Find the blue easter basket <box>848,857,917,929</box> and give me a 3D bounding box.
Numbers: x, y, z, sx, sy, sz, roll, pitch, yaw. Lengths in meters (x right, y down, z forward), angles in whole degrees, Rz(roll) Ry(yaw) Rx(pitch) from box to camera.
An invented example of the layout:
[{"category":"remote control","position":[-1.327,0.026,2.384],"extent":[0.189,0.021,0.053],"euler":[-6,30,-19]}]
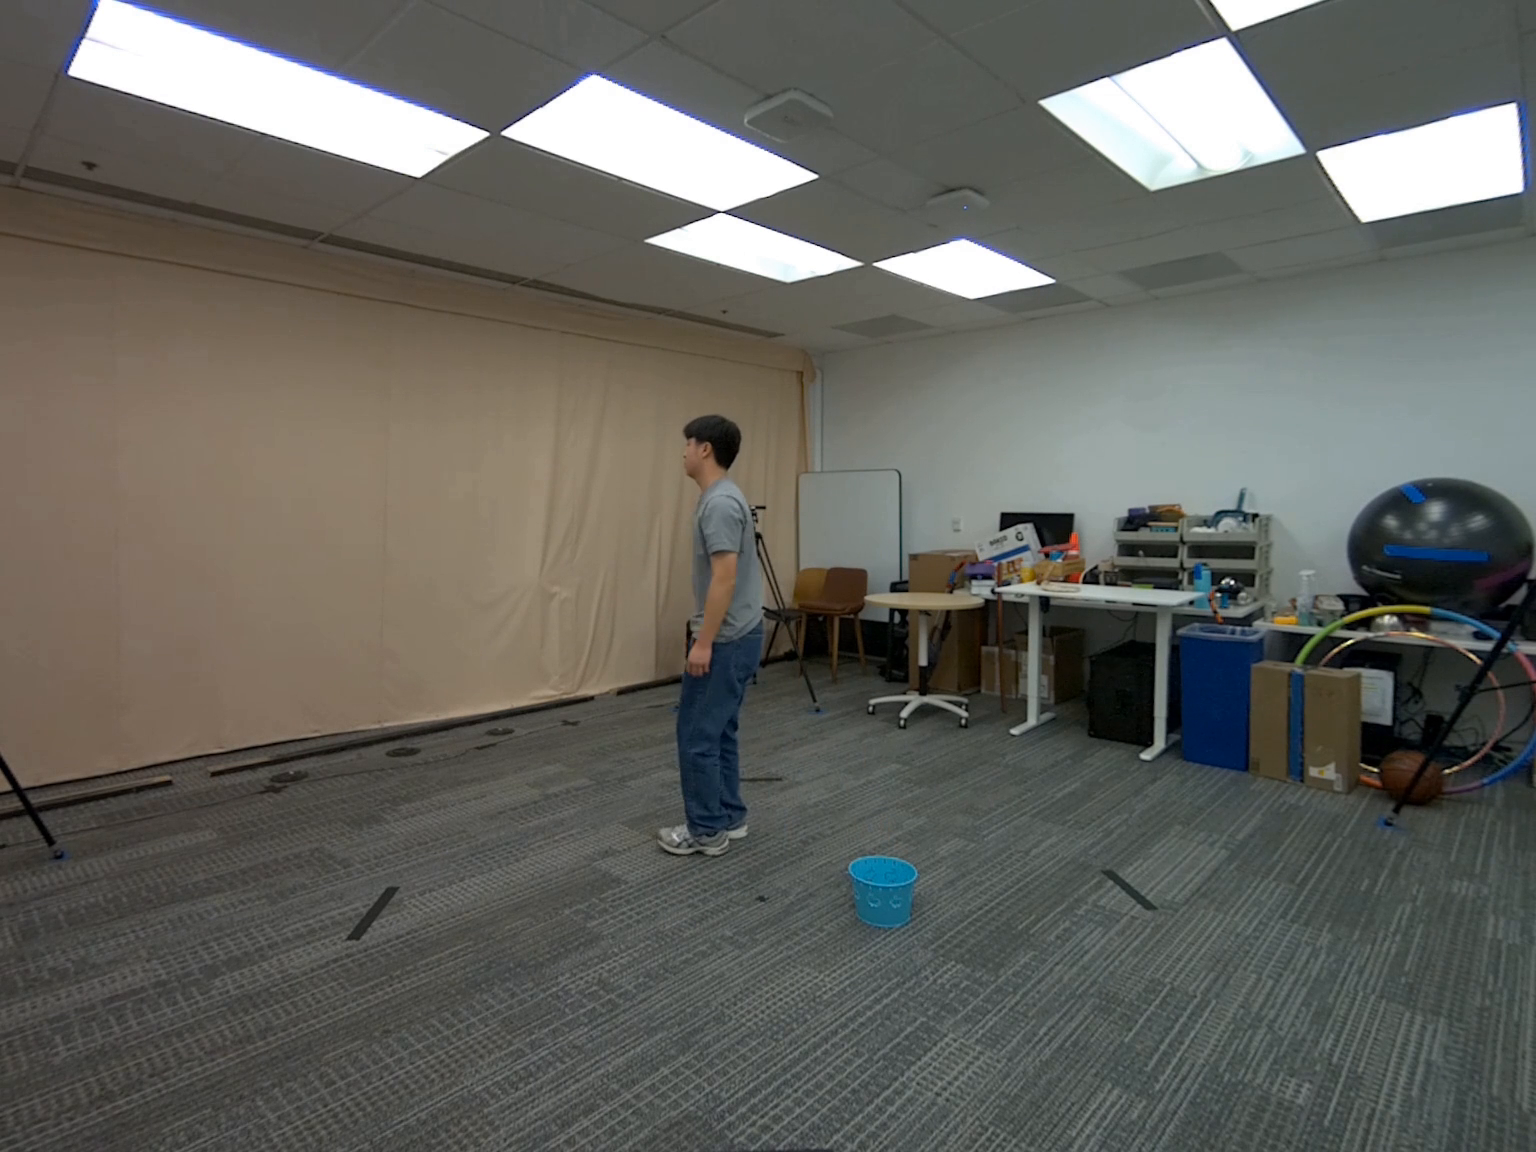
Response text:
[{"category":"blue easter basket","position":[0.399,1.074,2.864],"extent":[0.243,0.155,0.244],"euler":[0,4,-2]}]
